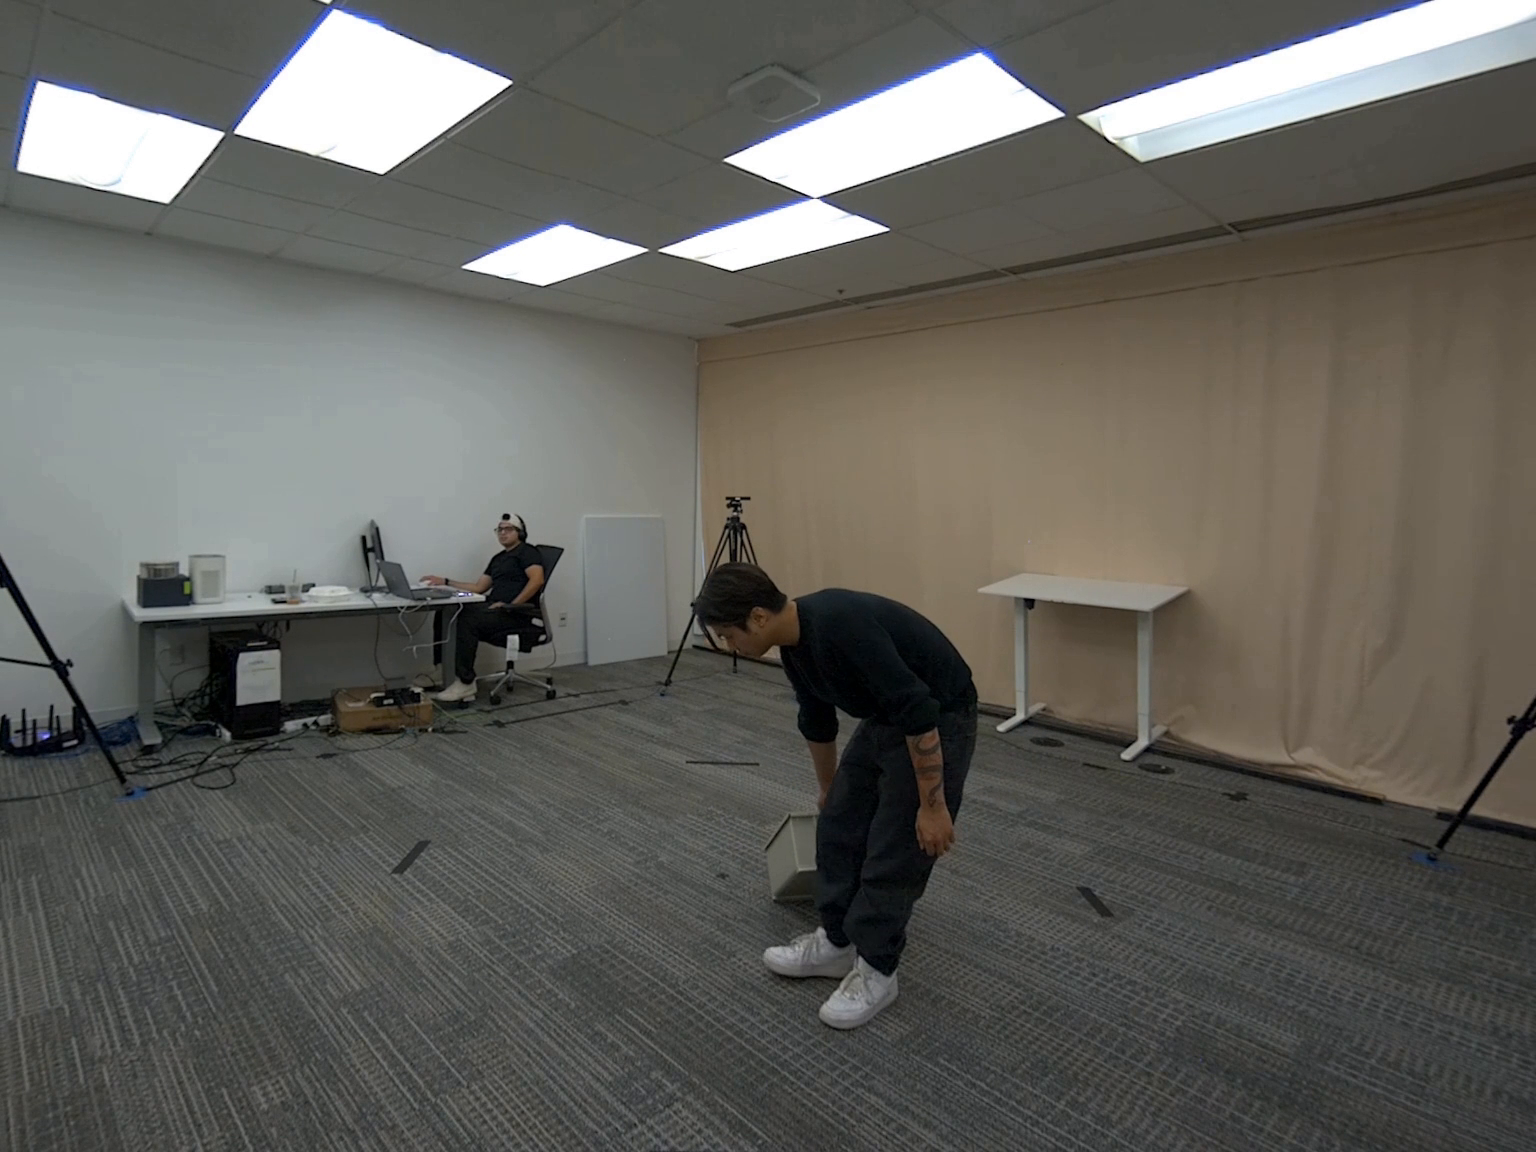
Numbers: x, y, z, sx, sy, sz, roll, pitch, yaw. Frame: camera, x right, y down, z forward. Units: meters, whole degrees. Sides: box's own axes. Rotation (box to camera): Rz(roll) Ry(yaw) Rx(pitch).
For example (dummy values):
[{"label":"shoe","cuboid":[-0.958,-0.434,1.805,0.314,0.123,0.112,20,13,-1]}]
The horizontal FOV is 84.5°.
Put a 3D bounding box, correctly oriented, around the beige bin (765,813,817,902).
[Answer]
[{"label":"beige bin","cuboid":[0.210,0.943,2.826,0.374,0.193,0.417,0,-32,-12]}]
